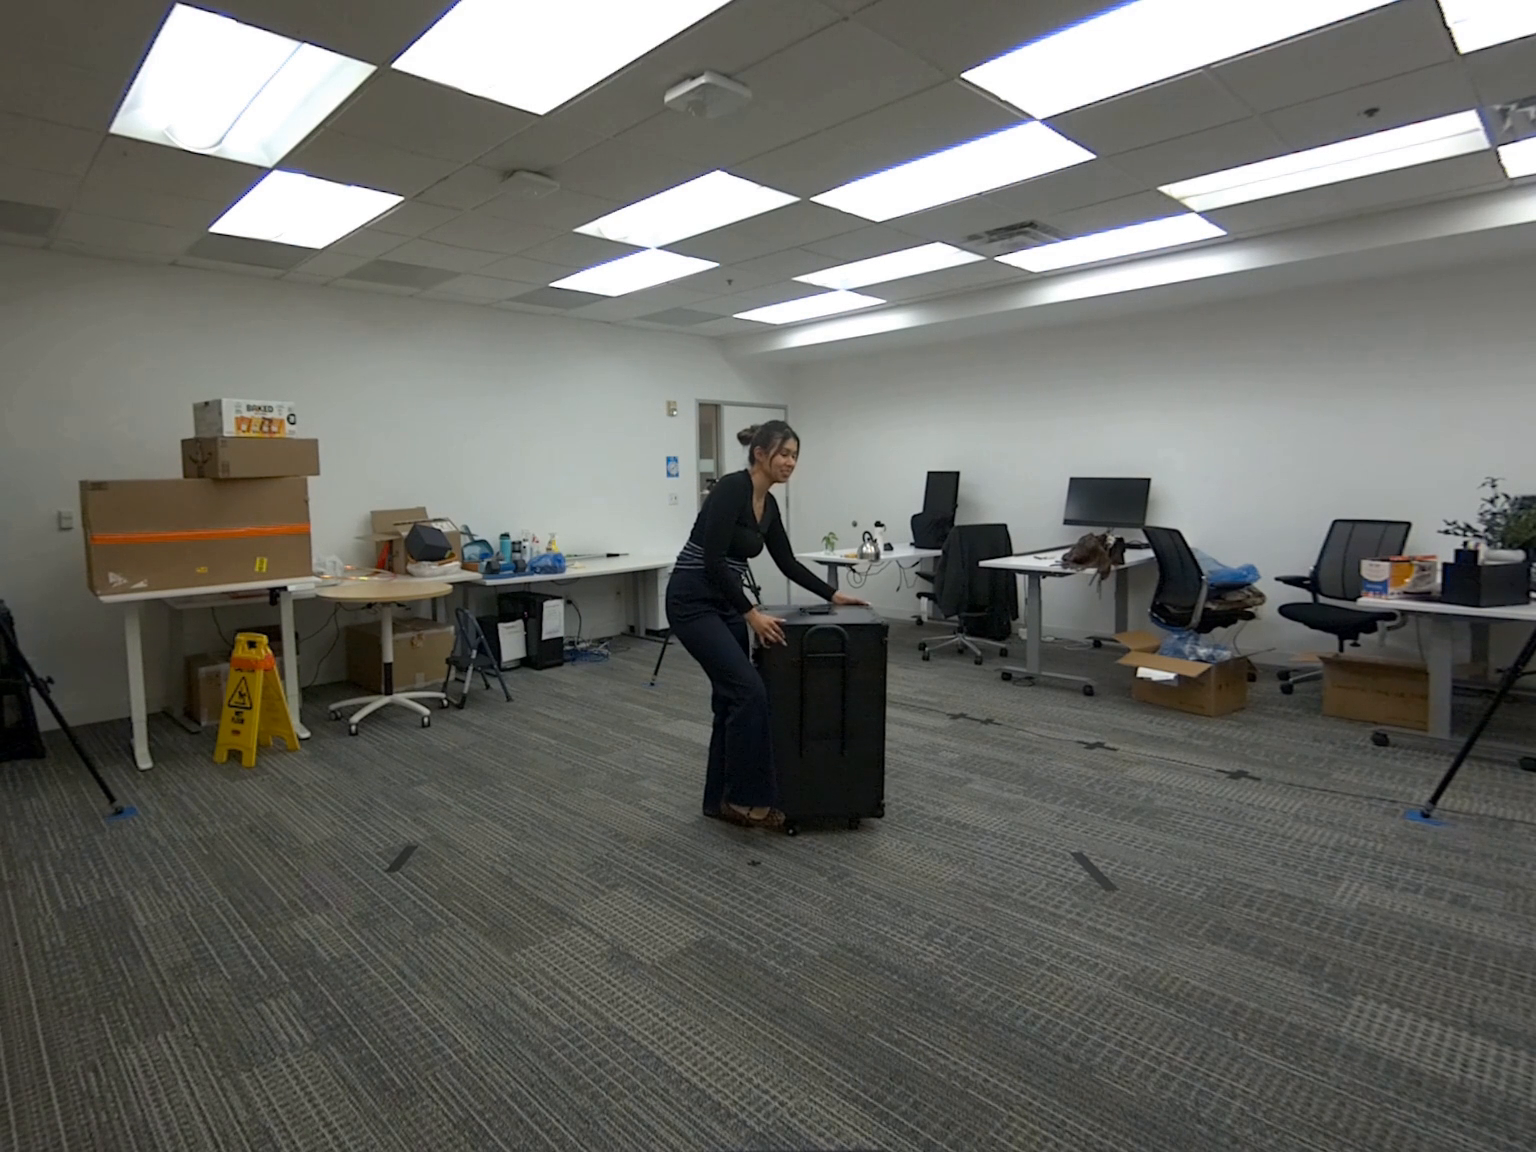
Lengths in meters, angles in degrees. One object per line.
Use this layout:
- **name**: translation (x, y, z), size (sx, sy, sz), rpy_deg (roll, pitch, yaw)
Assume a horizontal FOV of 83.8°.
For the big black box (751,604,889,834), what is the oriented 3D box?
- **big black box**: translation (0.210, 0.573, 3.443), size (0.519, 0.855, 0.401), rpy_deg (0, 9, -5)
